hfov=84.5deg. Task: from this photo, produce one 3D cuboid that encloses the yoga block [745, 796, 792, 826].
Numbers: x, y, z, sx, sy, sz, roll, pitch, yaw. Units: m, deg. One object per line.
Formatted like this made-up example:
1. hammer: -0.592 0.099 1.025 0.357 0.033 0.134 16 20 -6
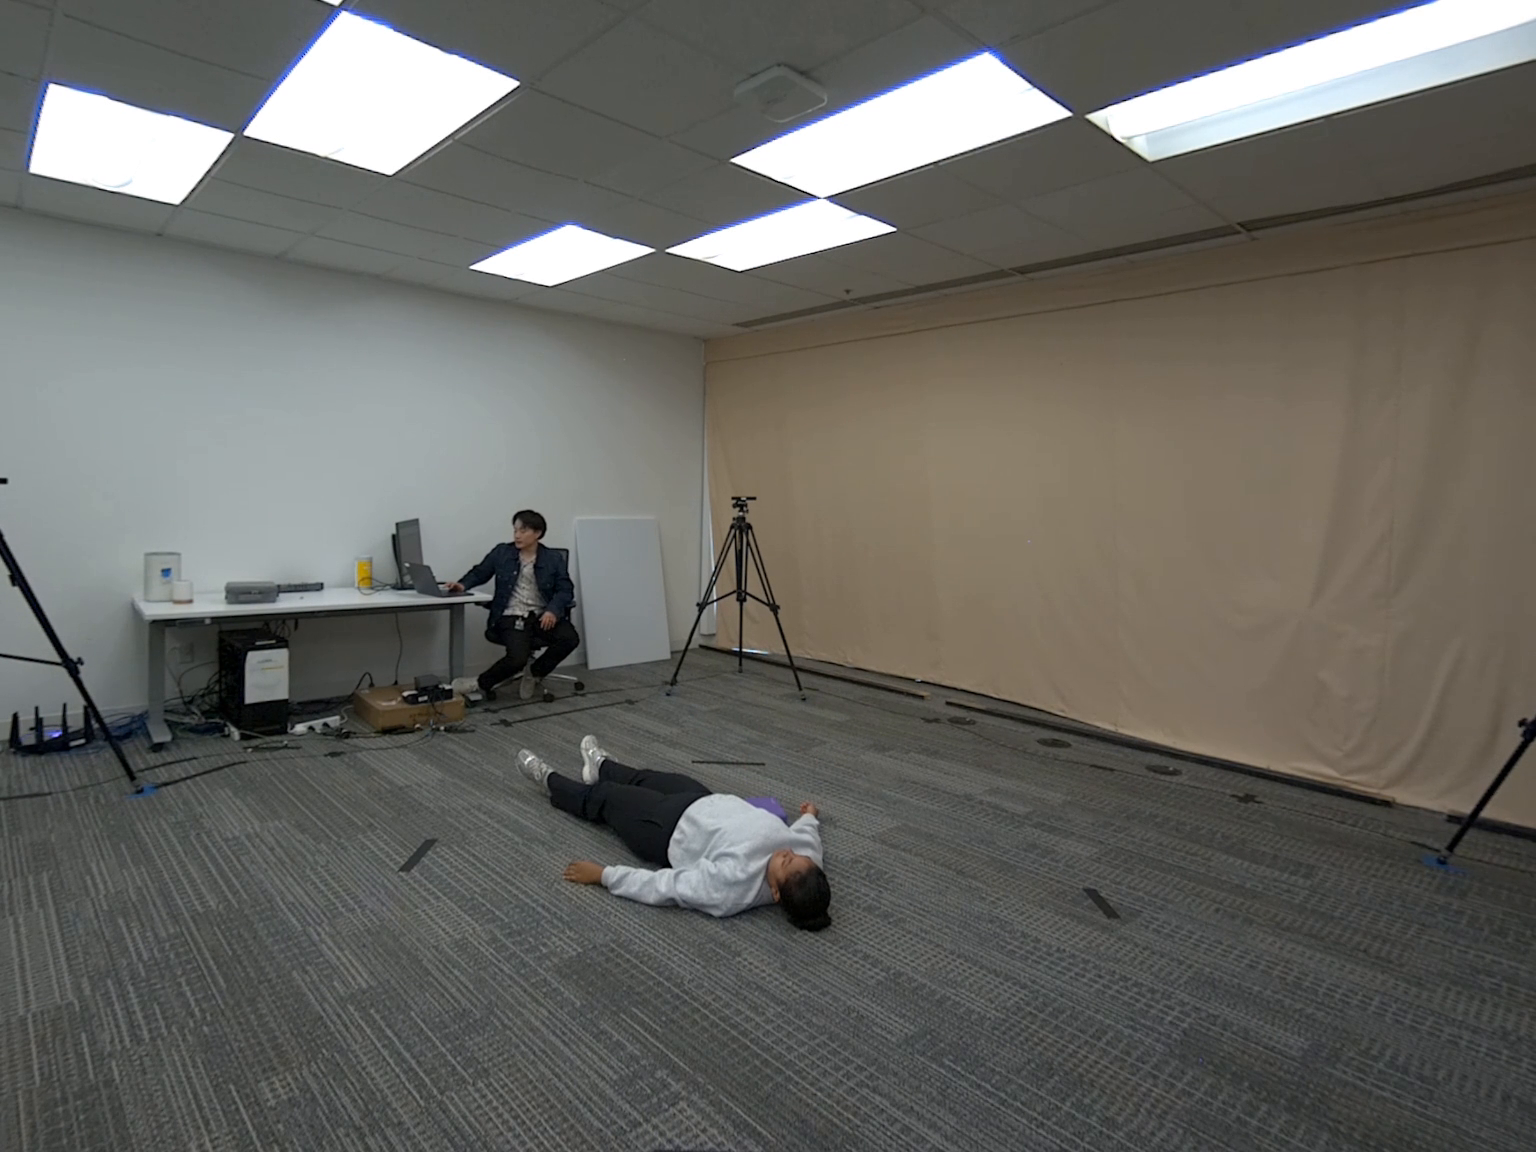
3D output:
1. yoga block: -0.028 1.027 3.622 0.148 0.076 0.232 0 5 -11
